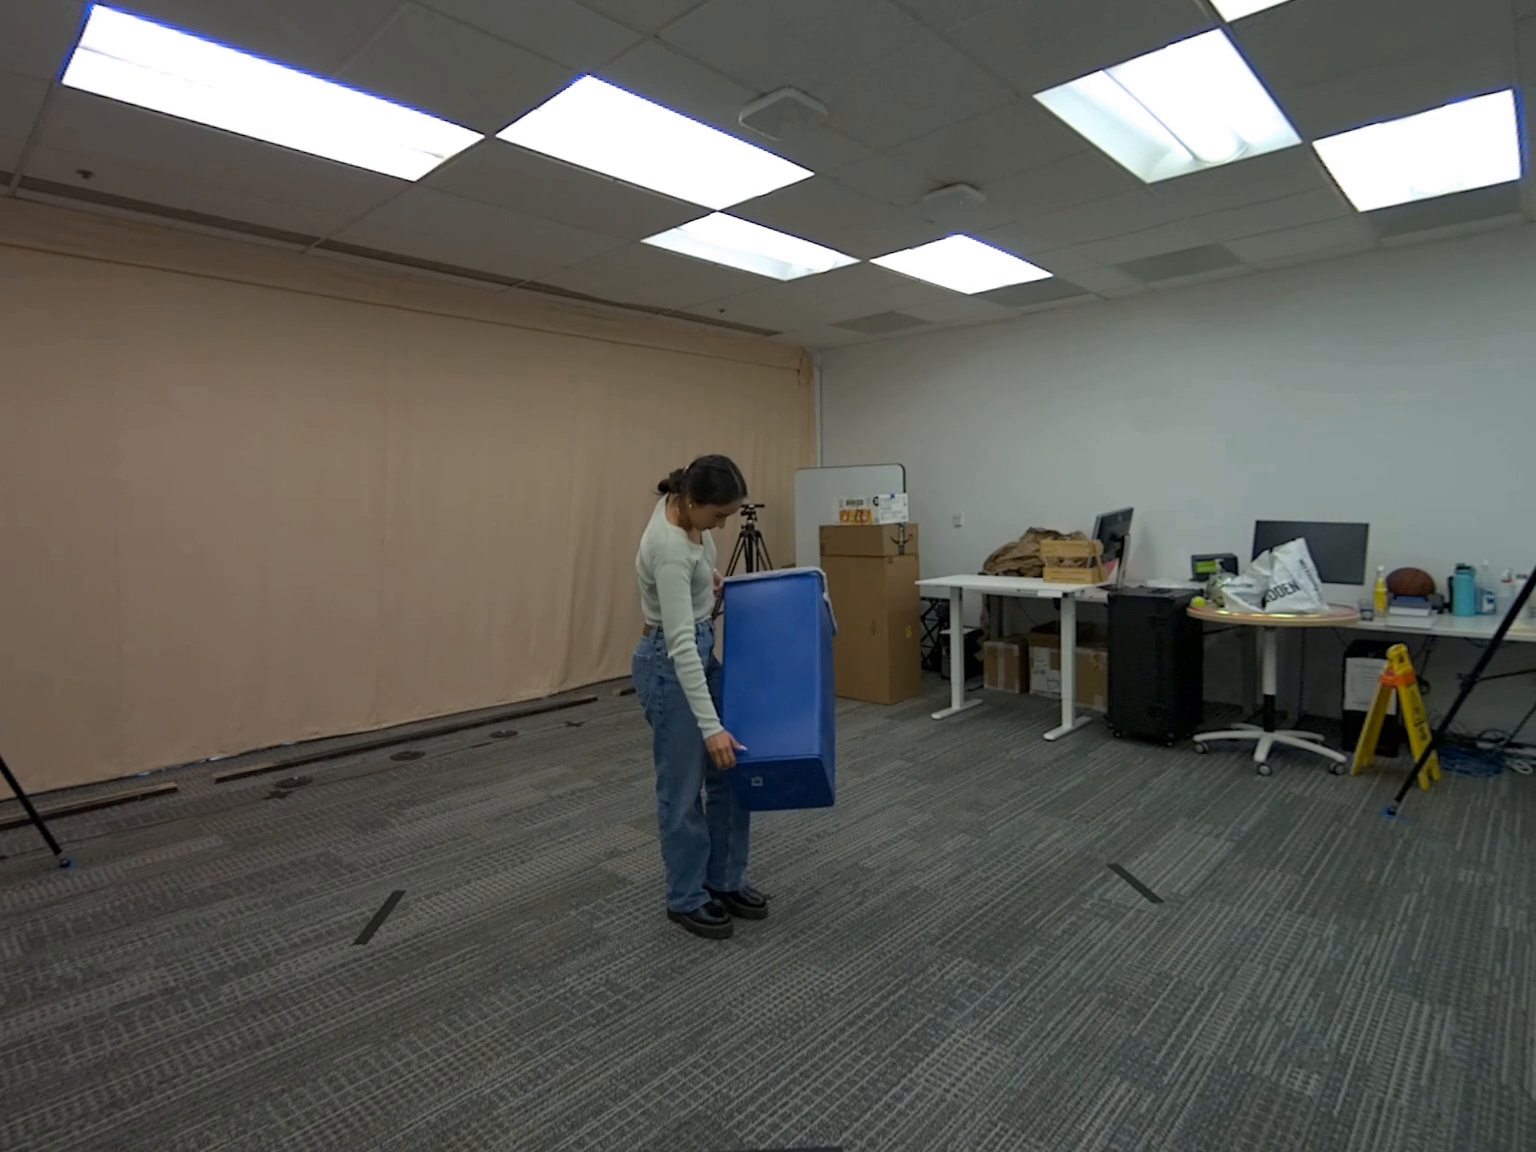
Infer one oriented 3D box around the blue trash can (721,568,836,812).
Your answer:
[{"bbox_3d":[0.043,0.363,2.784,0.378,0.367,0.726,-8,46,10],"label":"blue trash can"}]
